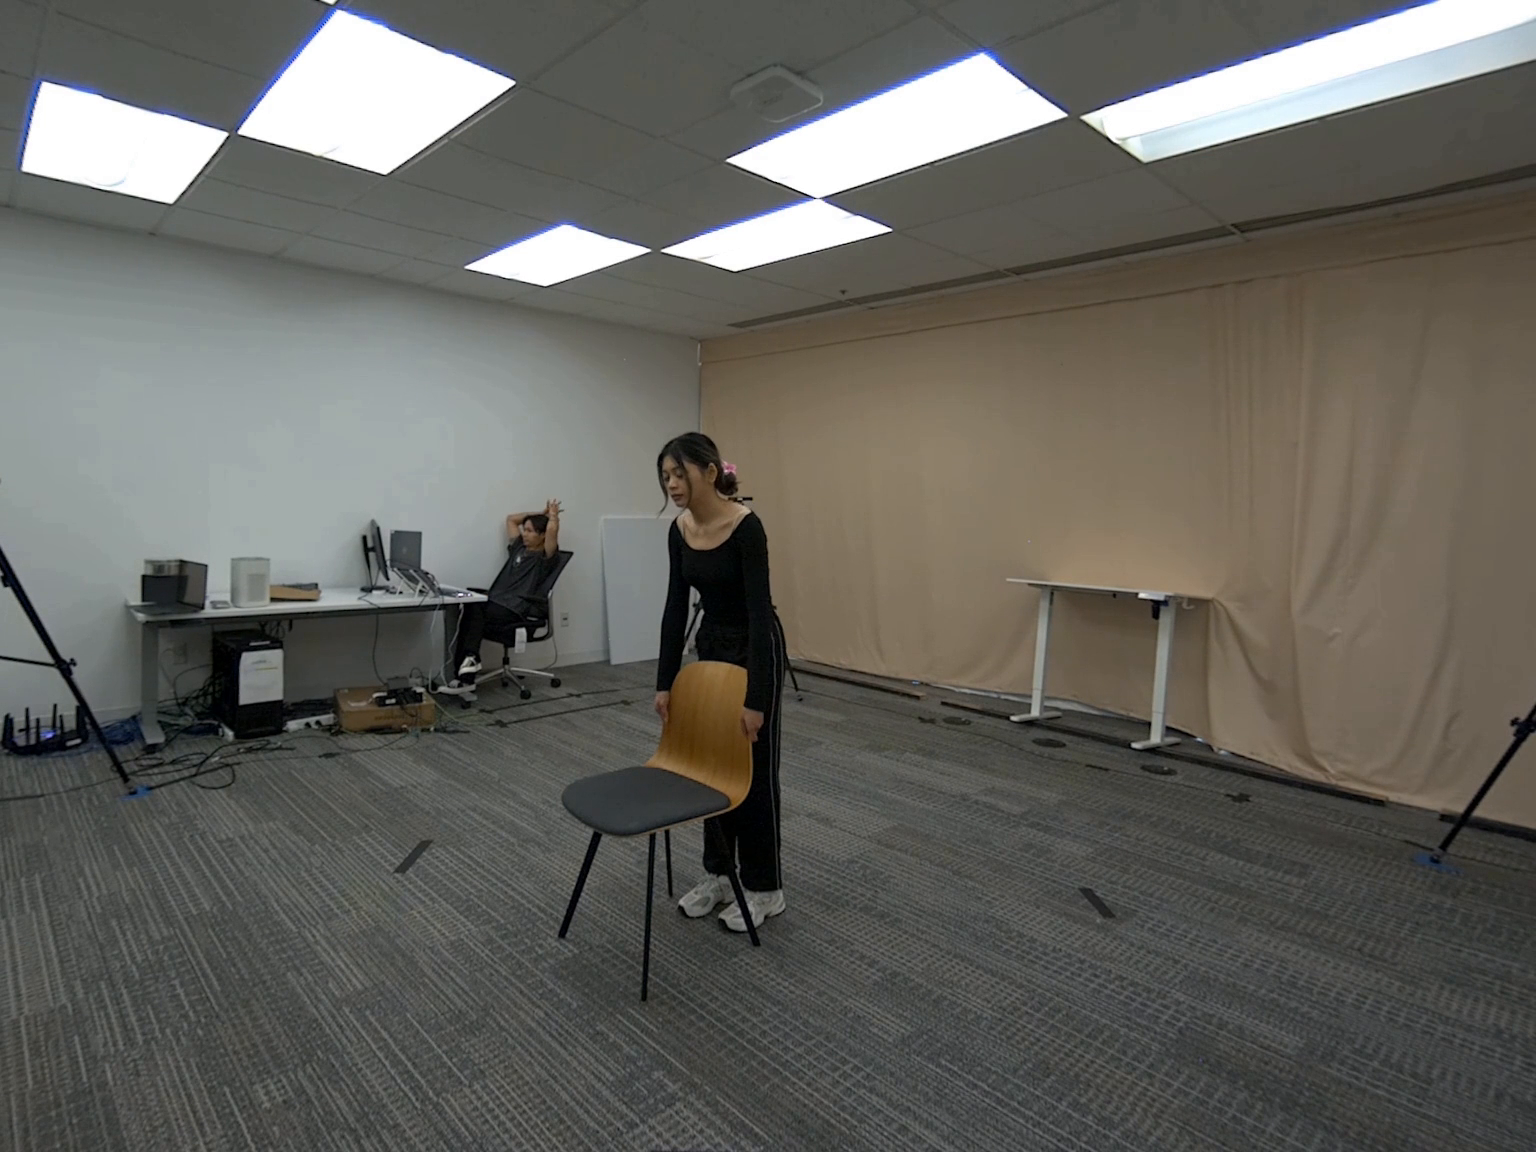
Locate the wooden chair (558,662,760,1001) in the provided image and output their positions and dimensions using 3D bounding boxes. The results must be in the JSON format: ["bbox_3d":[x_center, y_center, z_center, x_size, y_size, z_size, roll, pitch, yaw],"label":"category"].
[{"bbox_3d":[-0.340,0.721,2.593,0.510,0.877,0.490,5,0,-43],"label":"wooden chair"}]
